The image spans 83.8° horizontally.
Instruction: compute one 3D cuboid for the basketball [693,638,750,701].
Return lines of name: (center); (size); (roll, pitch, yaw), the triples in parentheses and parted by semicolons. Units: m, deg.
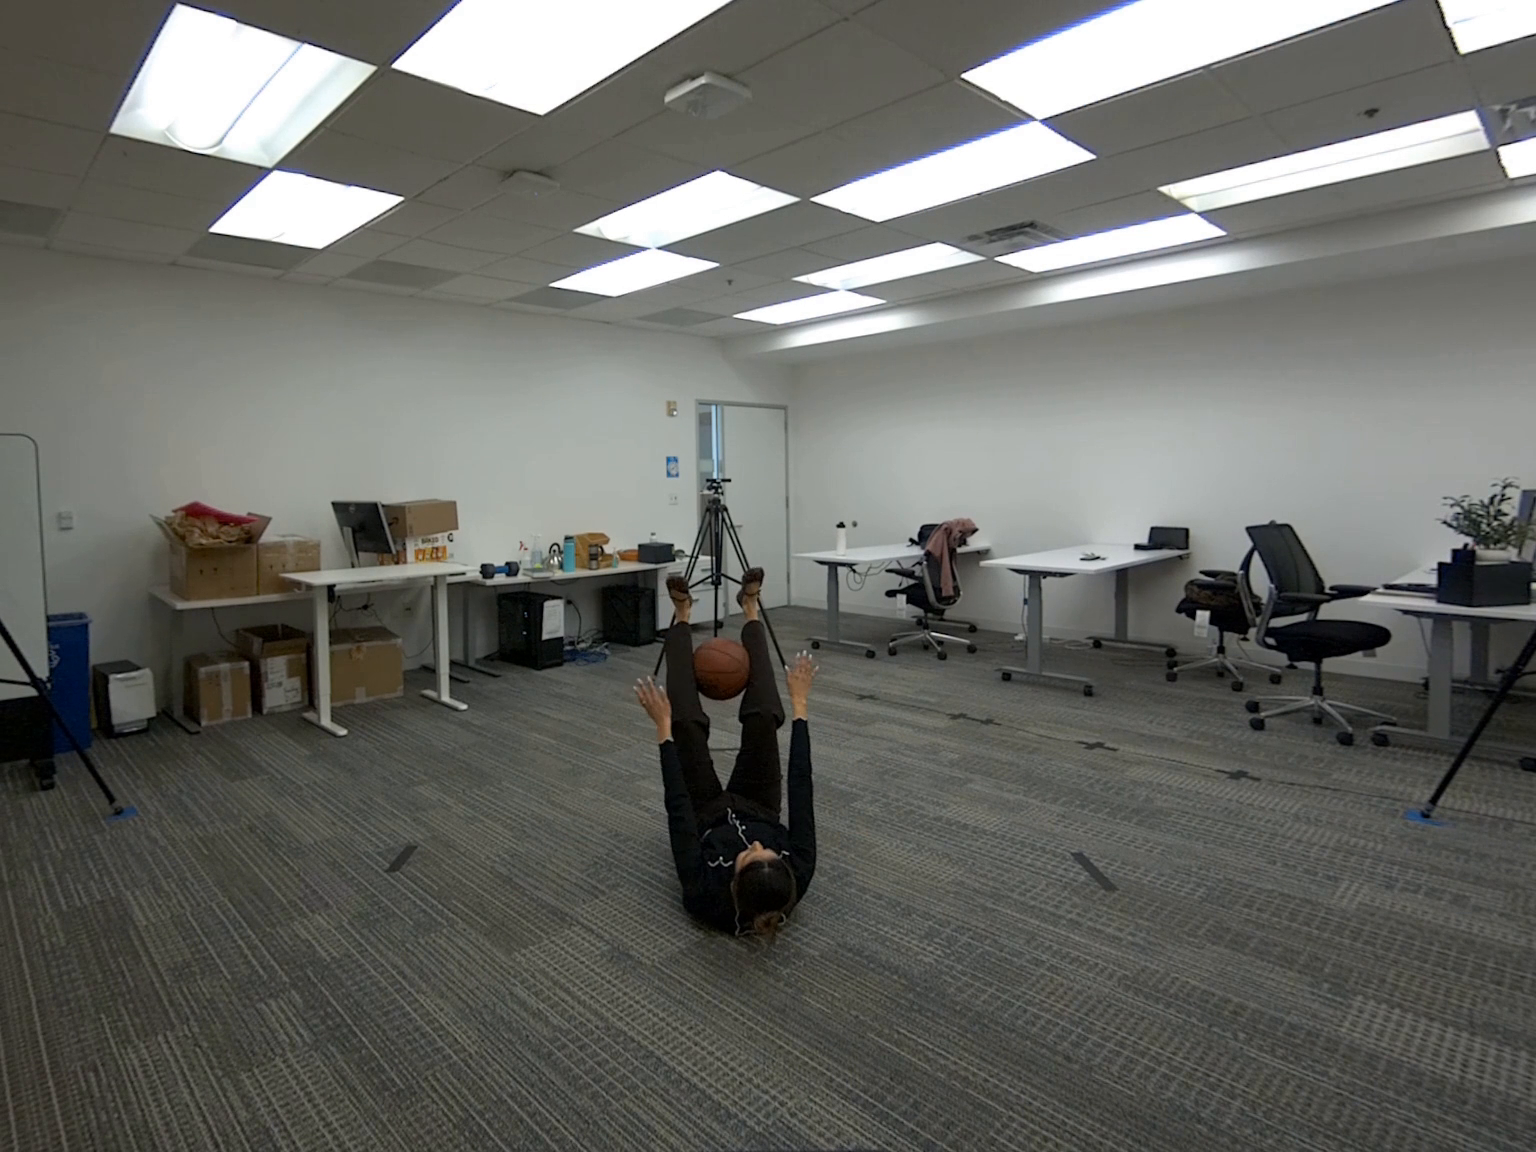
basketball: (-0.179, 0.349, 3.219); (0.236, 0.235, 0.237); (-1, 5, -2)
